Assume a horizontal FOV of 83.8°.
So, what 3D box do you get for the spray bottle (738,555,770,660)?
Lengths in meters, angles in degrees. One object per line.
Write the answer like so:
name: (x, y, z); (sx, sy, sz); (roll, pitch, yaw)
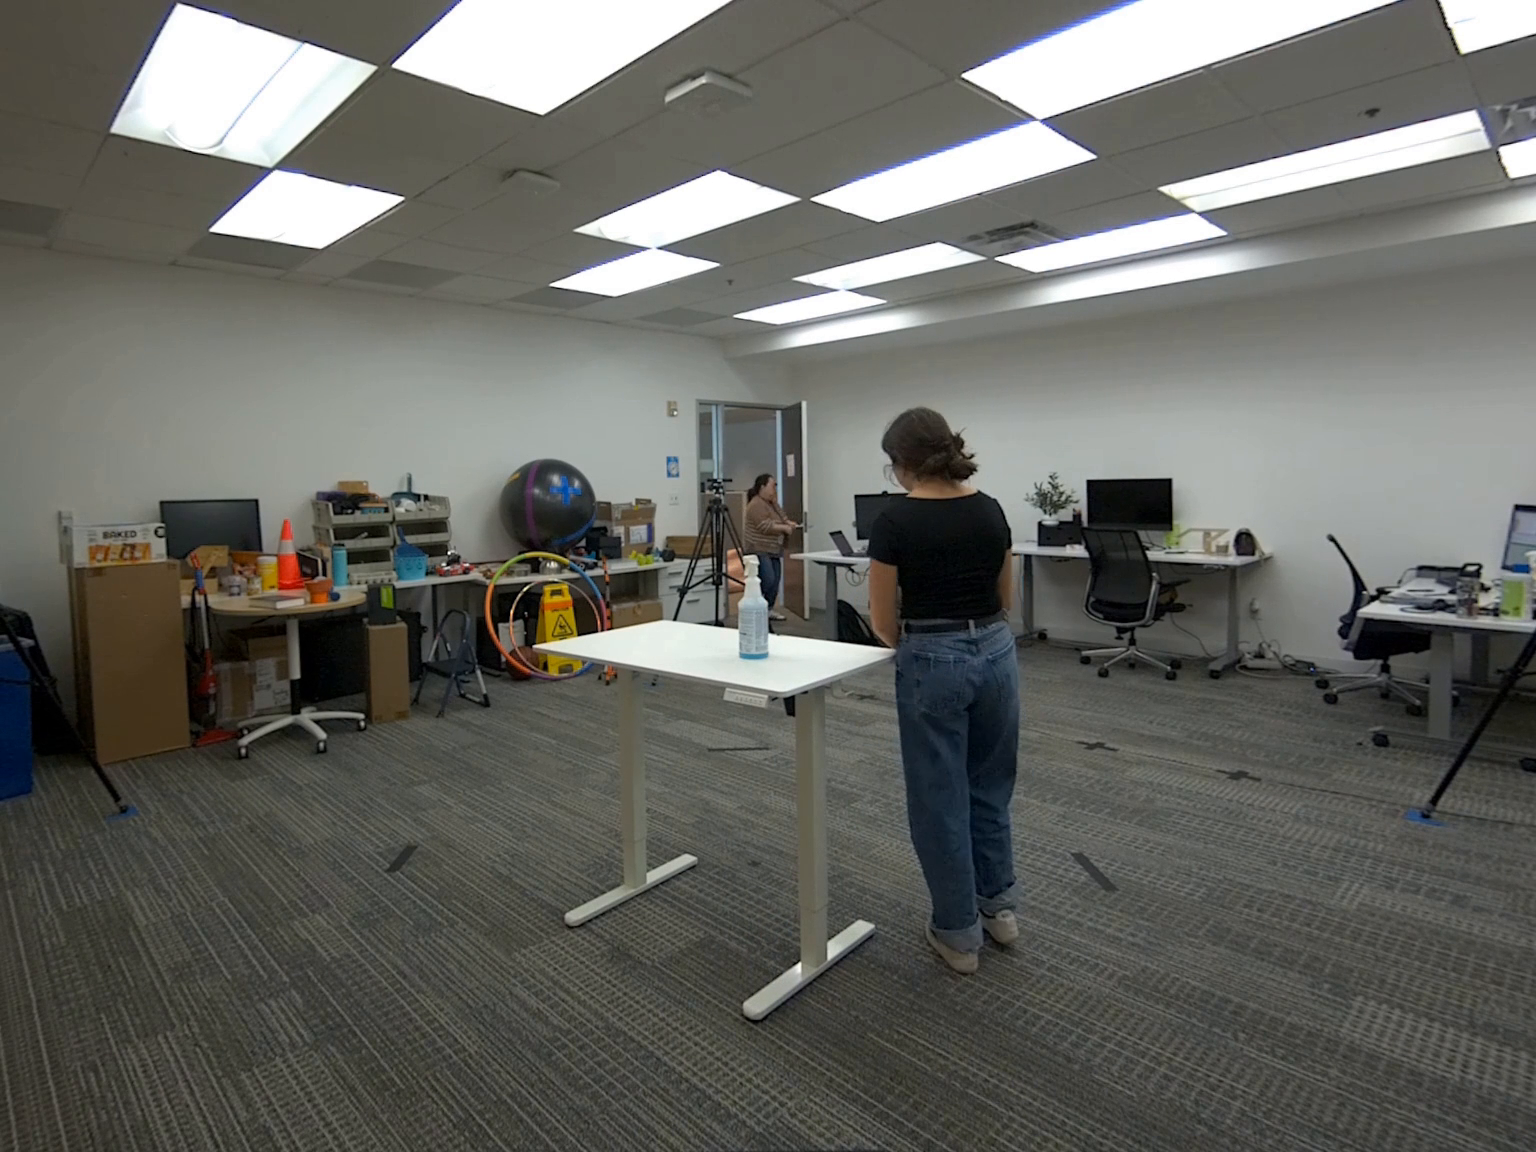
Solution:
spray bottle: (-0.038, 0.092, 2.461); (0.087, 0.296, 0.090); (-3, 4, -41)
